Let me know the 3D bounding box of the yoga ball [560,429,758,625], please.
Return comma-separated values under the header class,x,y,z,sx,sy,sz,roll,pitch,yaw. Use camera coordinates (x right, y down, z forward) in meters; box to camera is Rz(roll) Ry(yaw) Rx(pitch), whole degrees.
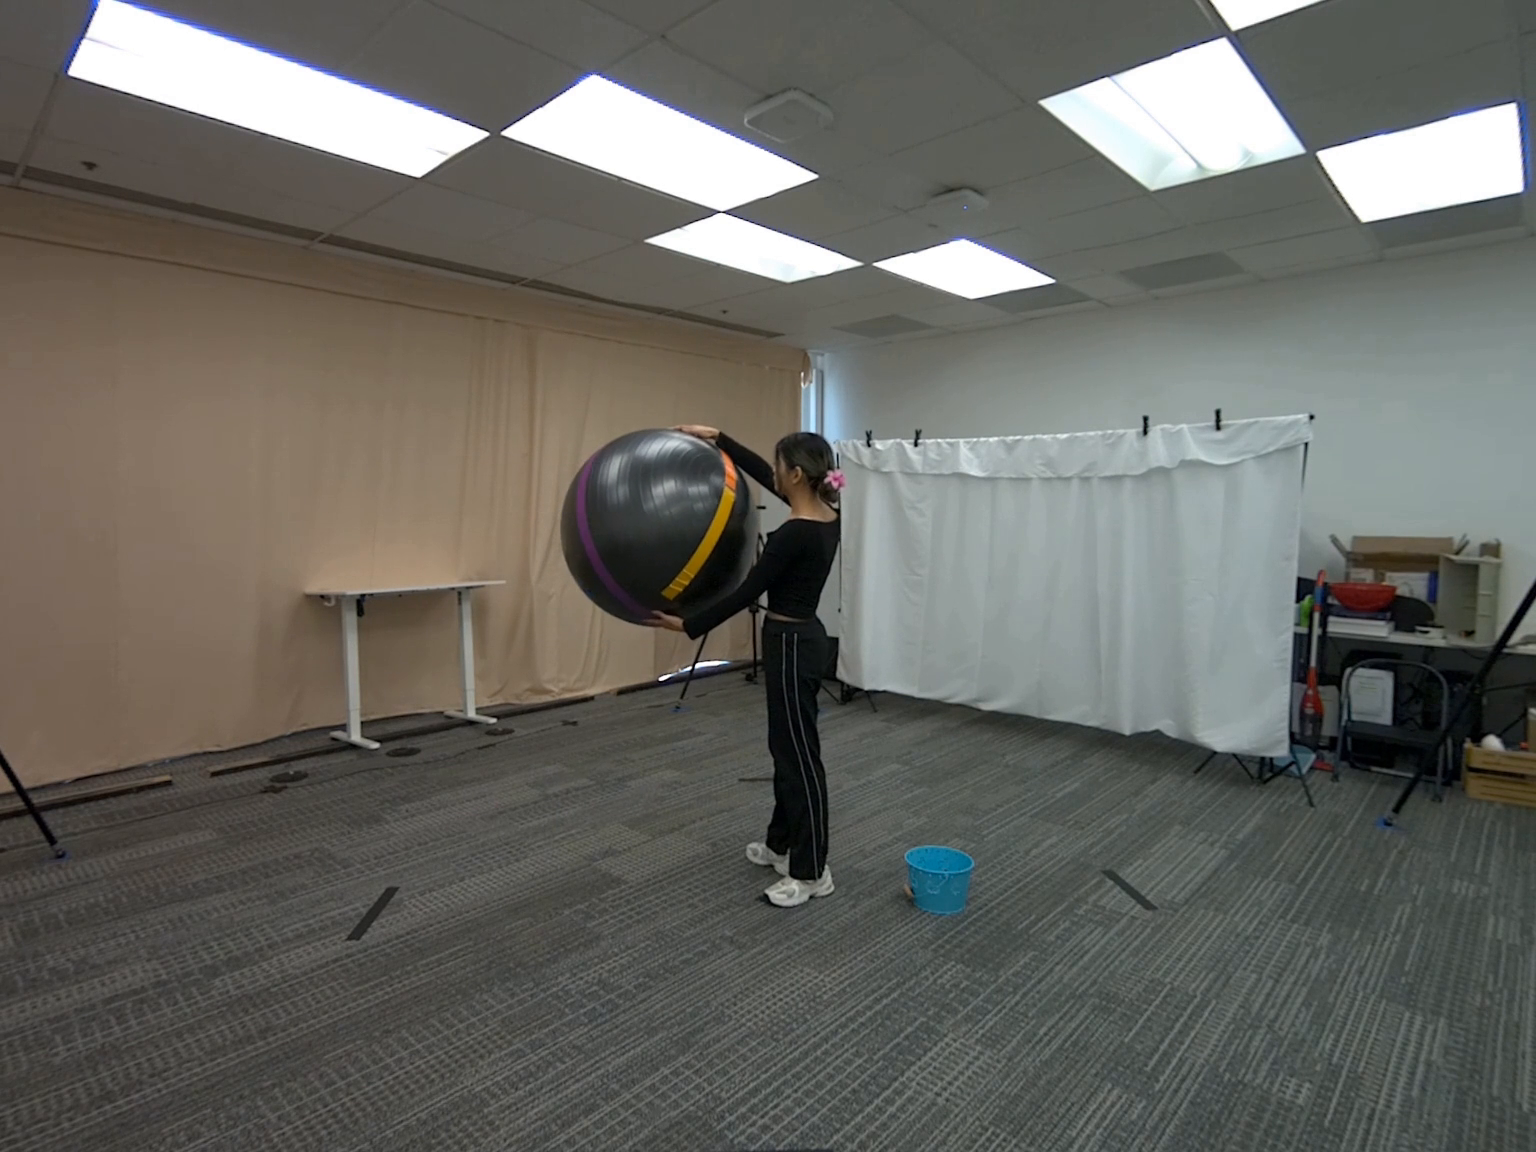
class,x,y,z,sx,sy,sz,roll,pitch,yaw
yoga ball,-0.410,-0.174,3.219,0.757,0.756,0.760,0,4,-2
